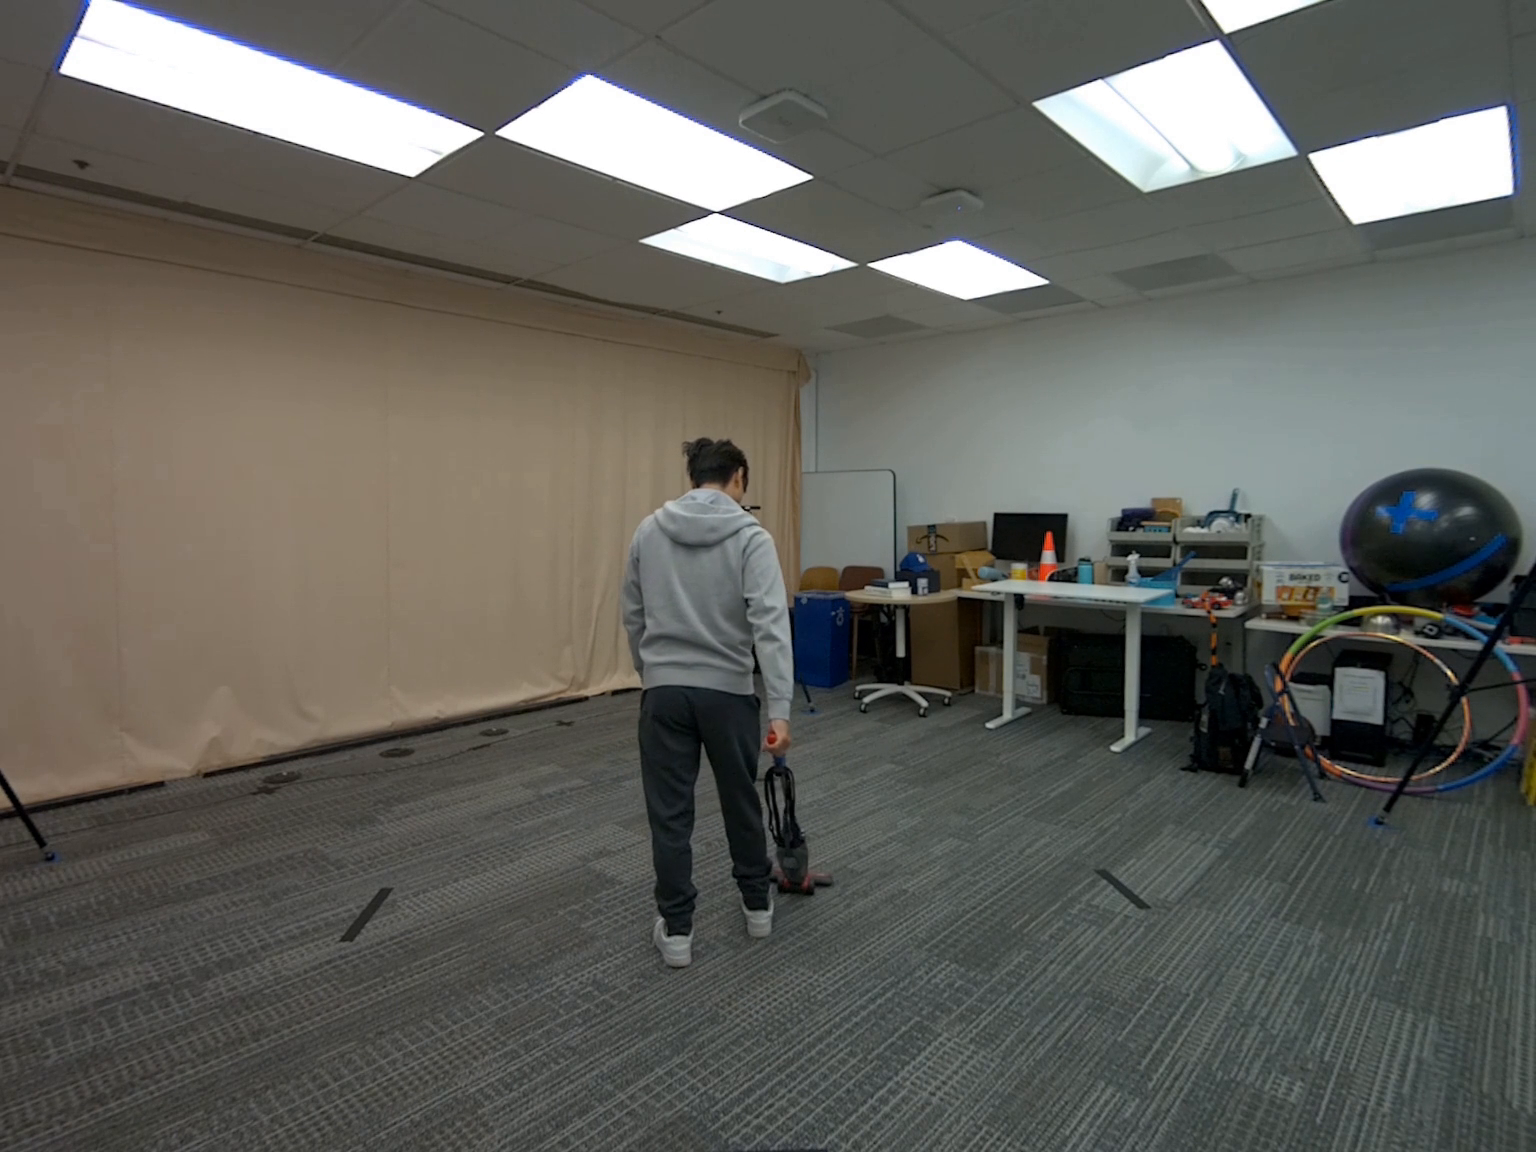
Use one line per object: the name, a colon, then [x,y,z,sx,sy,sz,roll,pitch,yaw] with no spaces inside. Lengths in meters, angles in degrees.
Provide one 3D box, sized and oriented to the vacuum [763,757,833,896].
vacuum: [0.064,0.798,2.719,0.256,0.145,1.024,3,-39,10]
